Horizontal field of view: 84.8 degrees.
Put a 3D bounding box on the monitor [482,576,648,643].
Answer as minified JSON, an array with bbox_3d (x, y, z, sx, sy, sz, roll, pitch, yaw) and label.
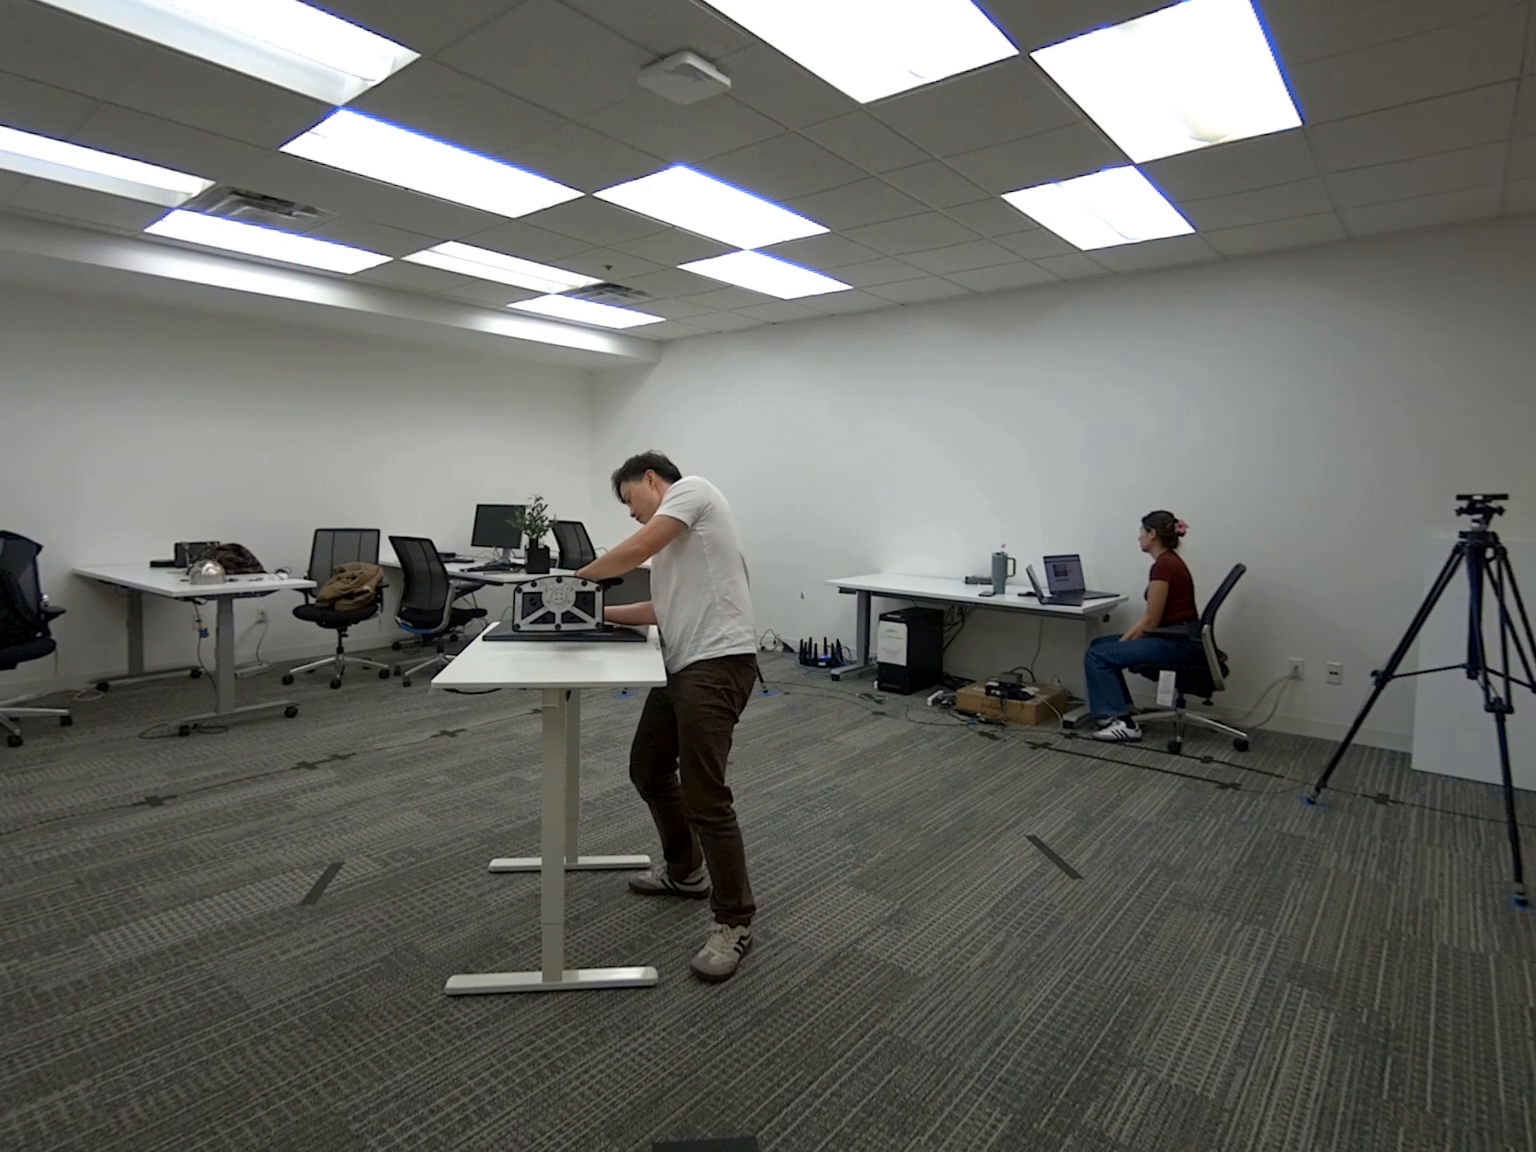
[{"bbox_3d":[-0.686,0.139,2.868,0.537,0.189,0.519,2,-11,-5],"label":"monitor"}]
